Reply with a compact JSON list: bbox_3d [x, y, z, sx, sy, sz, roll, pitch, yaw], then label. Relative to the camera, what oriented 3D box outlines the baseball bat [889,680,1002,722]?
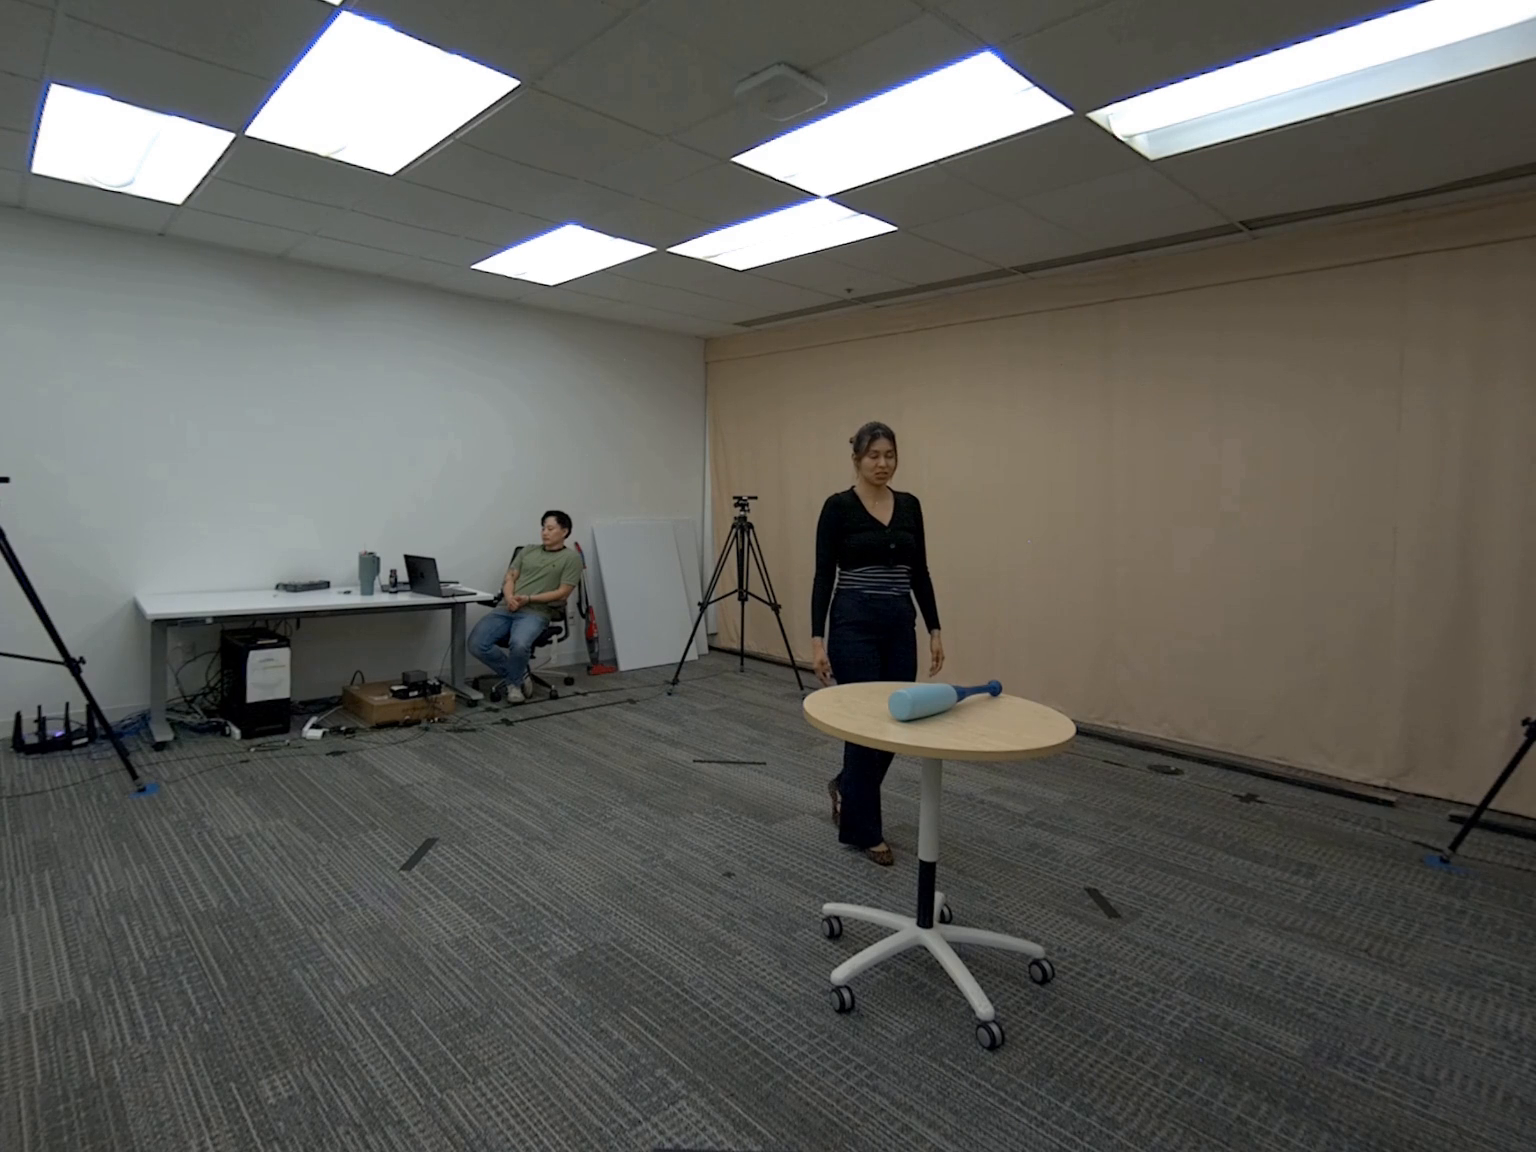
[{"bbox_3d":[0.540,0.358,2.493,0.091,0.089,0.530,5,4,44],"label":"baseball bat"}]
